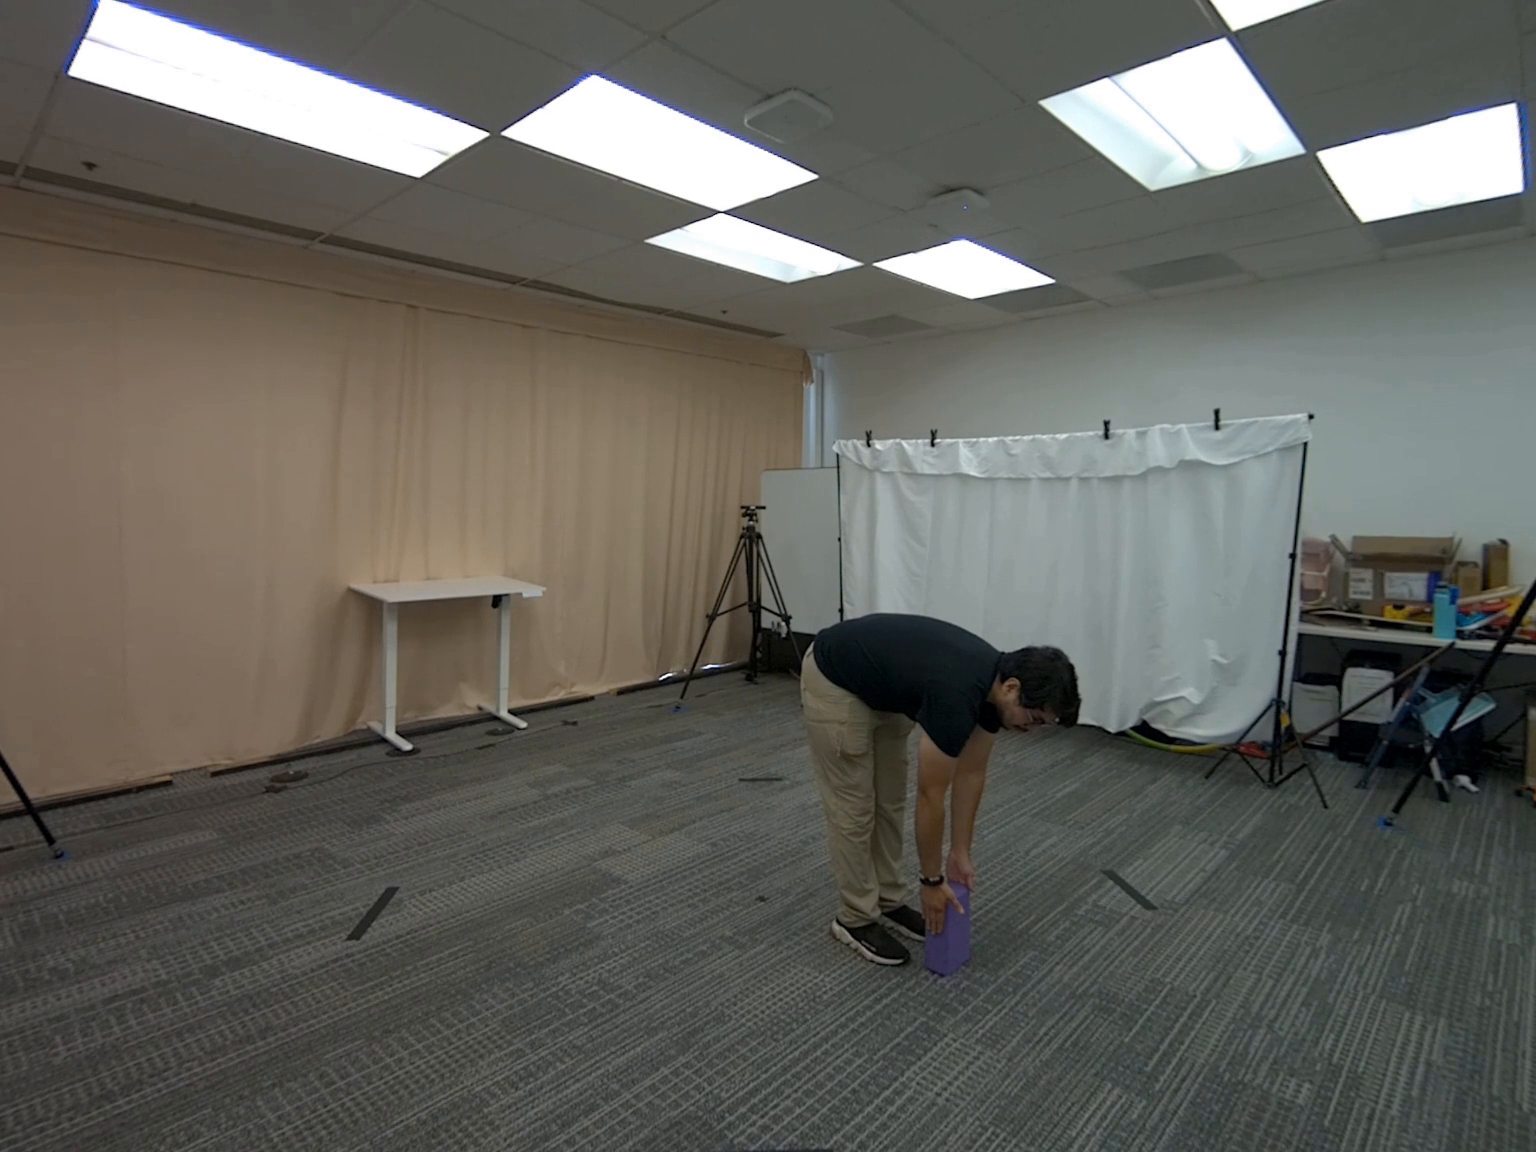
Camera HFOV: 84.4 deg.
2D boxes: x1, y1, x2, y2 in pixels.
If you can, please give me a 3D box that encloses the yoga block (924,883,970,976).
[{"bbox_3d":[0.549,1.067,2.546,0.144,0.229,0.079,-2,6,-43],"label":"yoga block"}]
